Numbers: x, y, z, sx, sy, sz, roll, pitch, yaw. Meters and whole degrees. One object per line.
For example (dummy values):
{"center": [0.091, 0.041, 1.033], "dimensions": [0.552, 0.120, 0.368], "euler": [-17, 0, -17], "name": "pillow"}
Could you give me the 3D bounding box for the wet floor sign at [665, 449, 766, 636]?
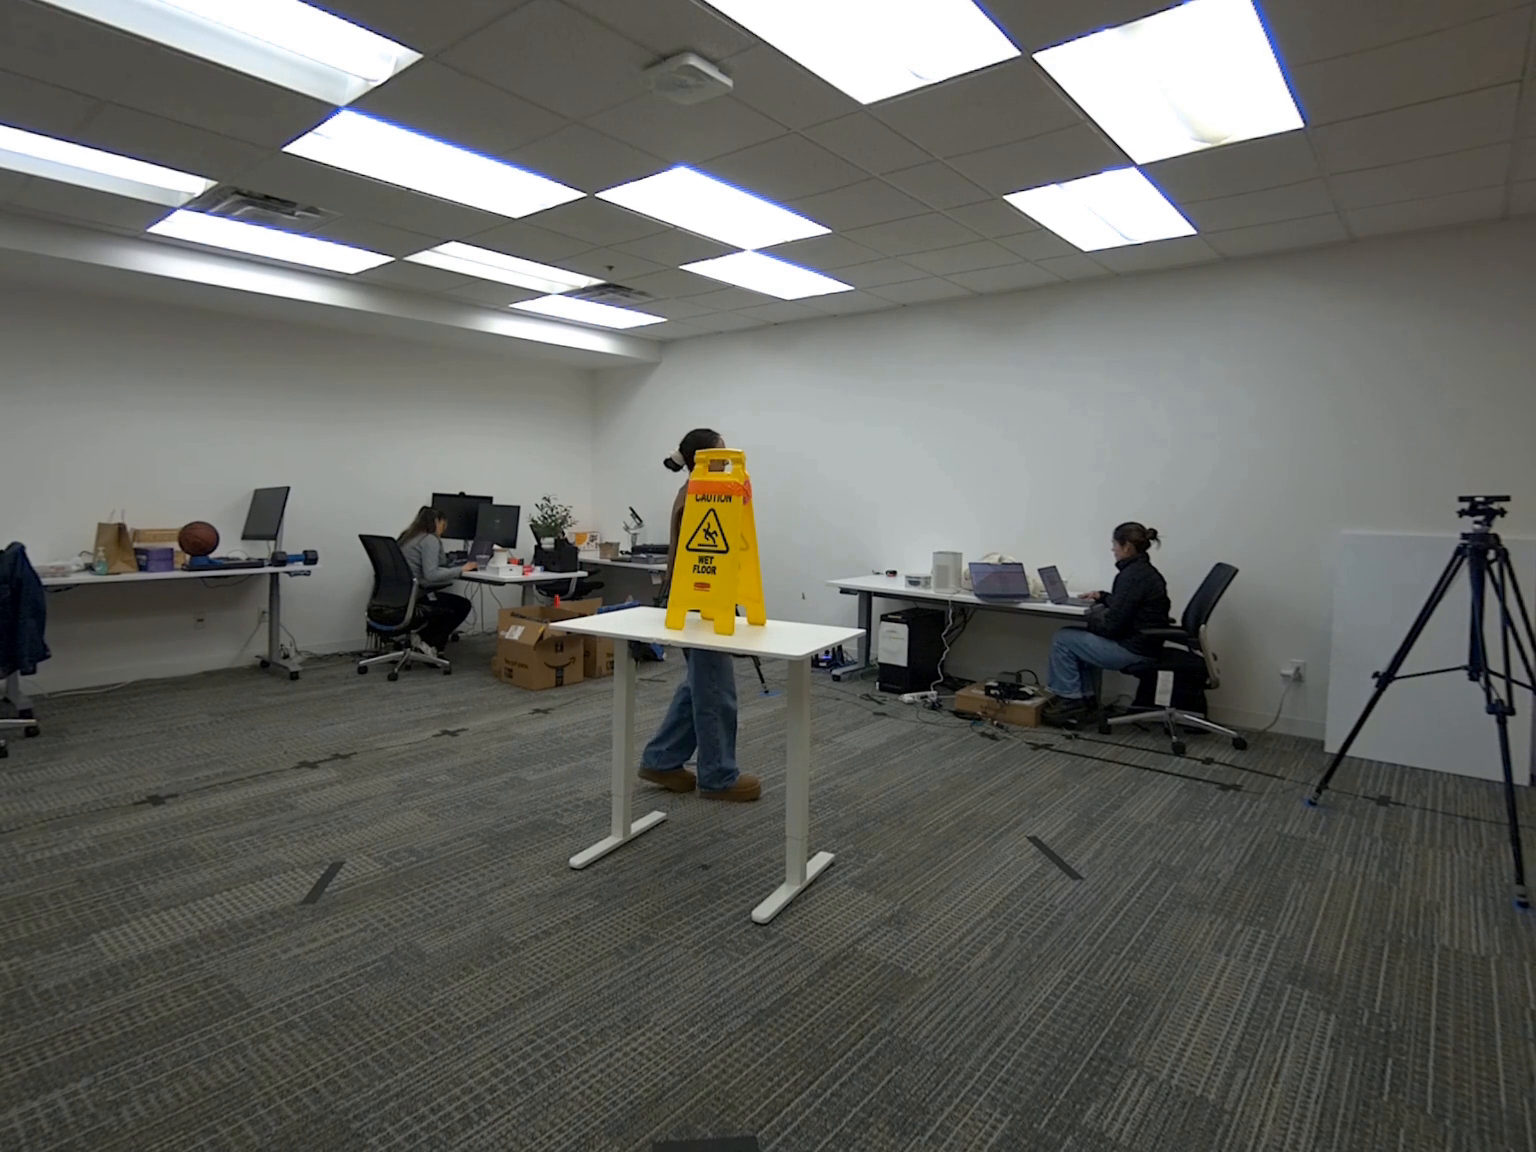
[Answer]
{"center": [-0.195, -0.138, 3.096], "dimensions": [0.290, 0.644, 0.283], "euler": [2, 4, 26], "name": "wet floor sign"}
